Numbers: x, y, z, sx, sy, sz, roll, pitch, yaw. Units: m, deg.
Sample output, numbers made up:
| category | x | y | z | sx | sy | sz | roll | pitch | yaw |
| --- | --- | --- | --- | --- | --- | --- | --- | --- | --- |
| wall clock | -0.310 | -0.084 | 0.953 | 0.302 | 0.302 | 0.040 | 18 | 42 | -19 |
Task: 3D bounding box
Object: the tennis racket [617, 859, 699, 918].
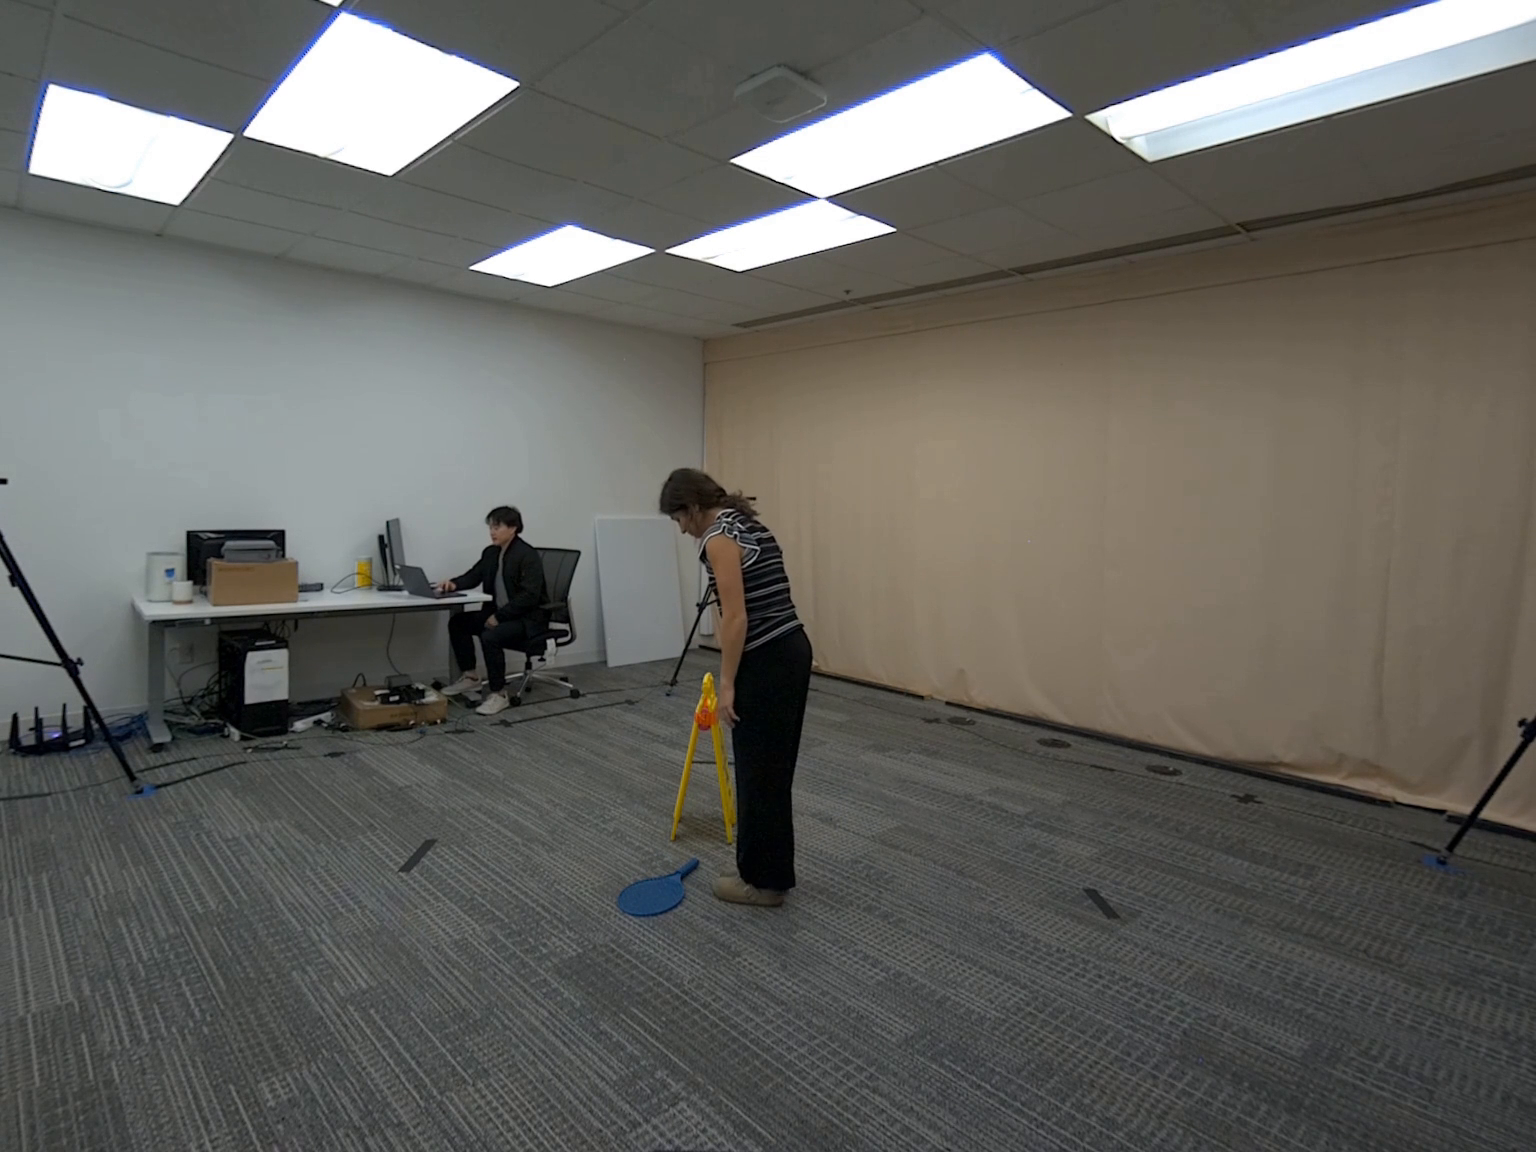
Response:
| category | x | y | z | sx | sy | sz | roll | pitch | yaw |
| --- | --- | --- | --- | --- | --- | --- | --- | --- | --- |
| tennis racket | -0.372 | 1.092 | 2.987 | 0.218 | 0.031 | 0.426 | 3 | 7 | 26 |
